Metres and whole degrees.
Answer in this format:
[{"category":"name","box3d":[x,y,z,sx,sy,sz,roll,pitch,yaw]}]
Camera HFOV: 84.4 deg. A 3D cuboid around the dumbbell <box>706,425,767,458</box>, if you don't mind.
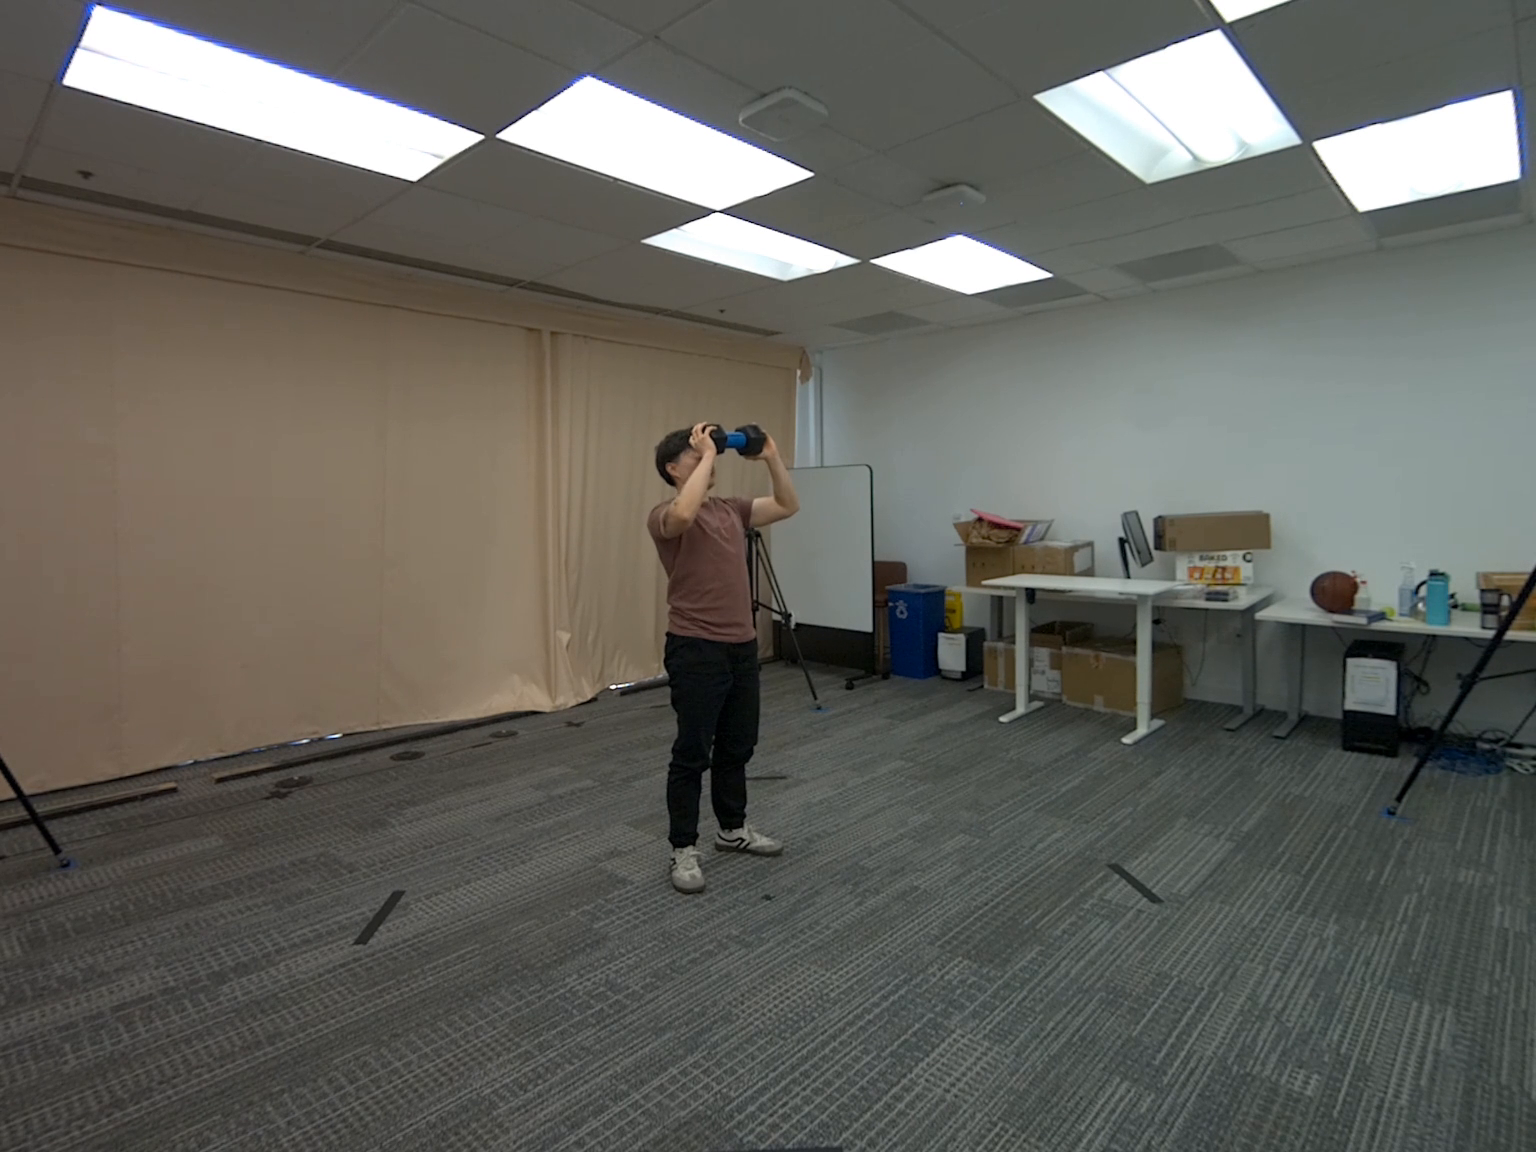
[{"category":"dumbbell","box3d":[-0.137,-0.503,3.105,0.285,0.125,0.109,-11,-29,-48]}]
